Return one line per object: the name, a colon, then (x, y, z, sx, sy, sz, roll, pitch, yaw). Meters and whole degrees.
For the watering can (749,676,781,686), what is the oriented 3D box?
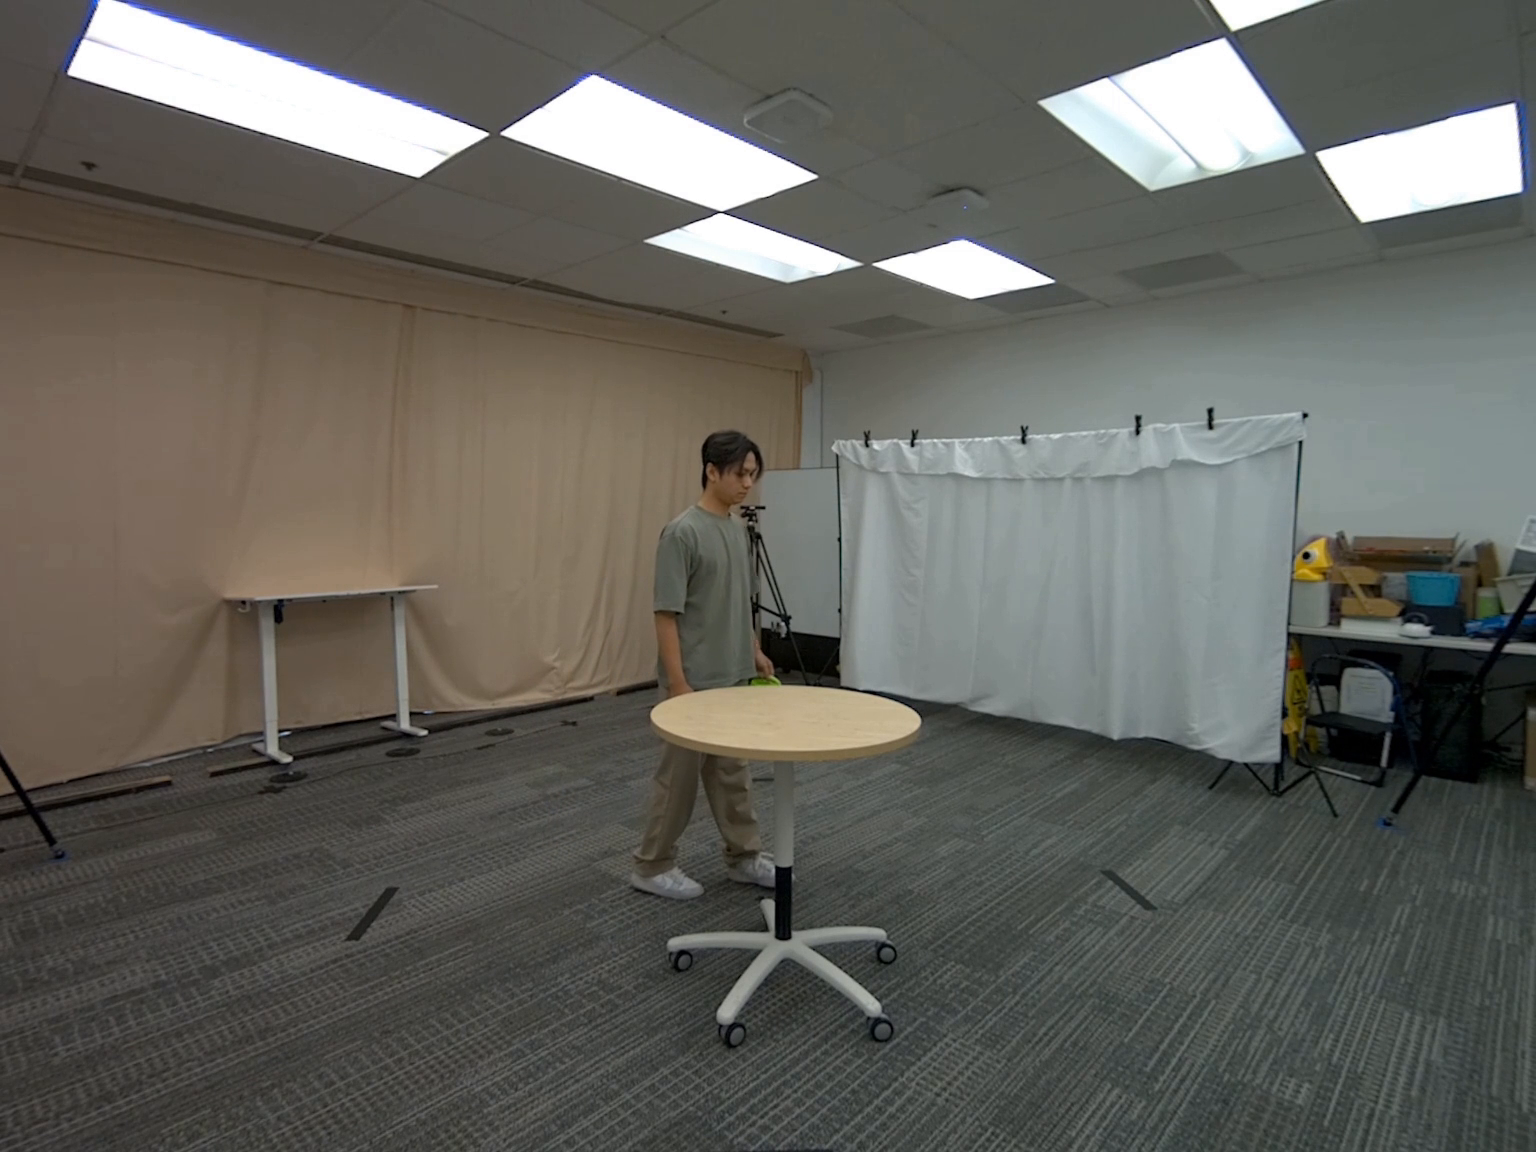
watering can: (0.030, 0.483, 3.260, 0.288, 0.176, 0.095, 19, 13, 33)
